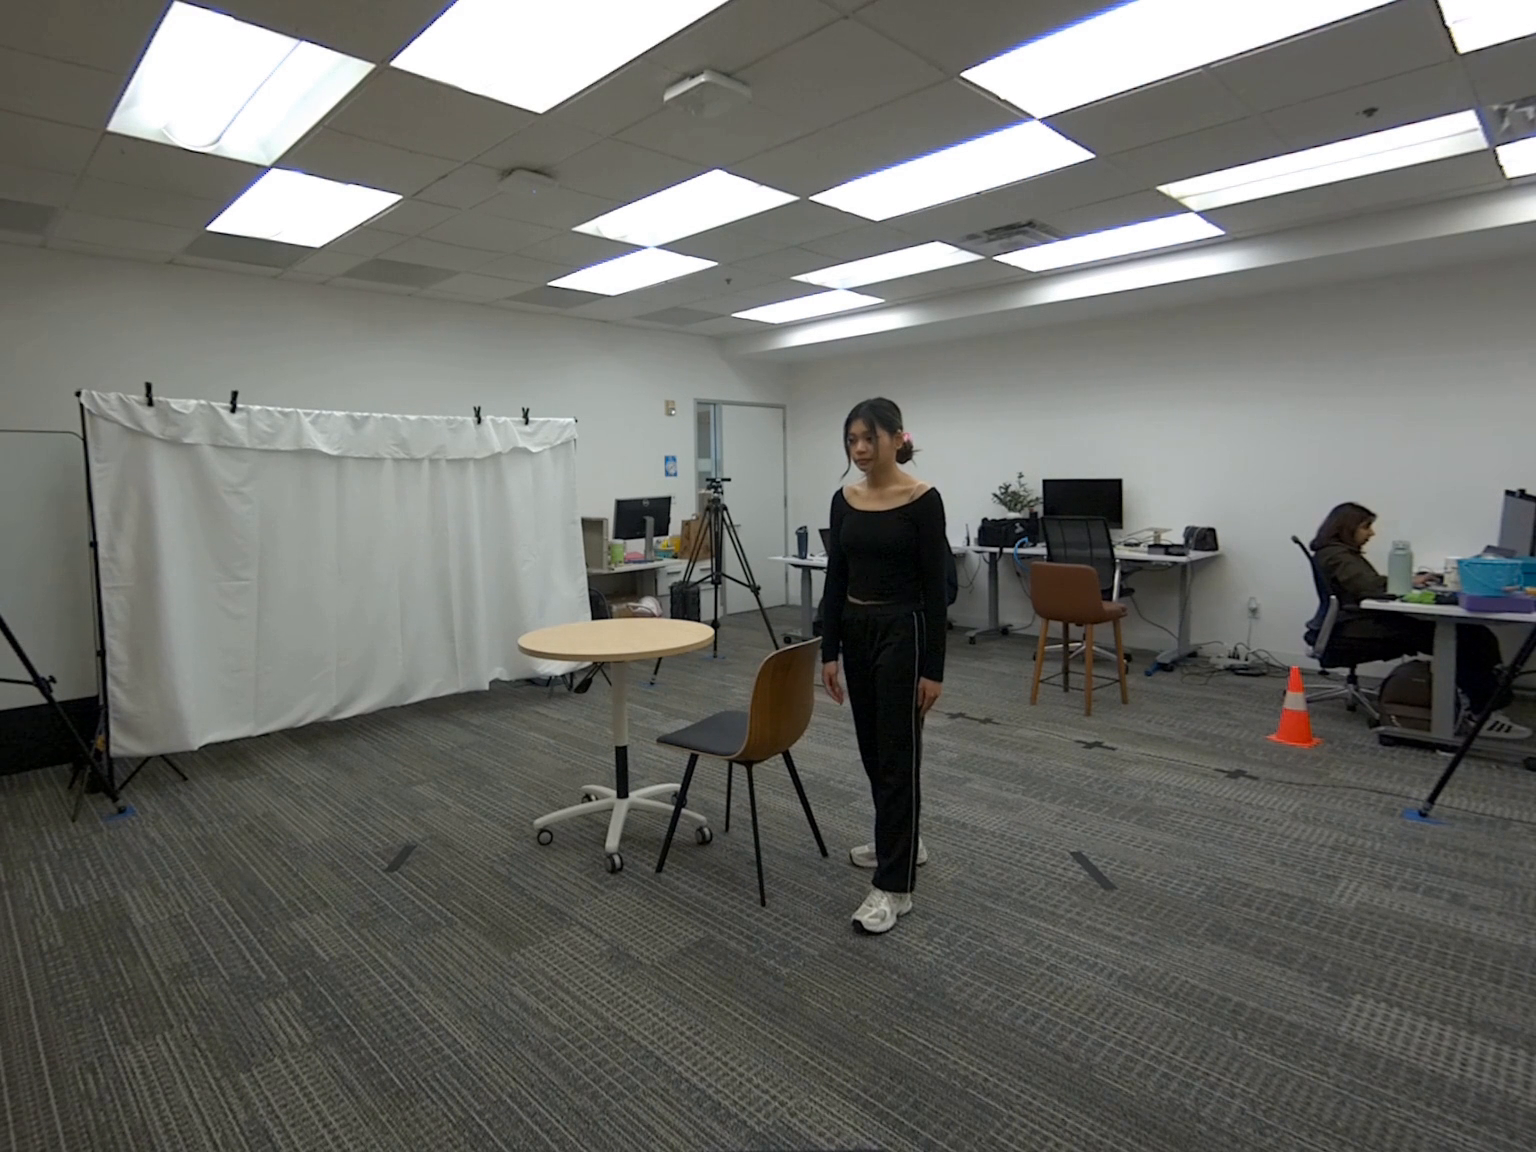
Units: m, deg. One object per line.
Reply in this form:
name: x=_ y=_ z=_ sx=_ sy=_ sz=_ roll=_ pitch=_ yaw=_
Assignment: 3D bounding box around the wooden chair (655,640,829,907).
wooden chair: x=-0.097 y=0.619 z=3.061 sx=0.539 sy=0.872 sz=0.467 roll=8 pitch=8 yaw=33
